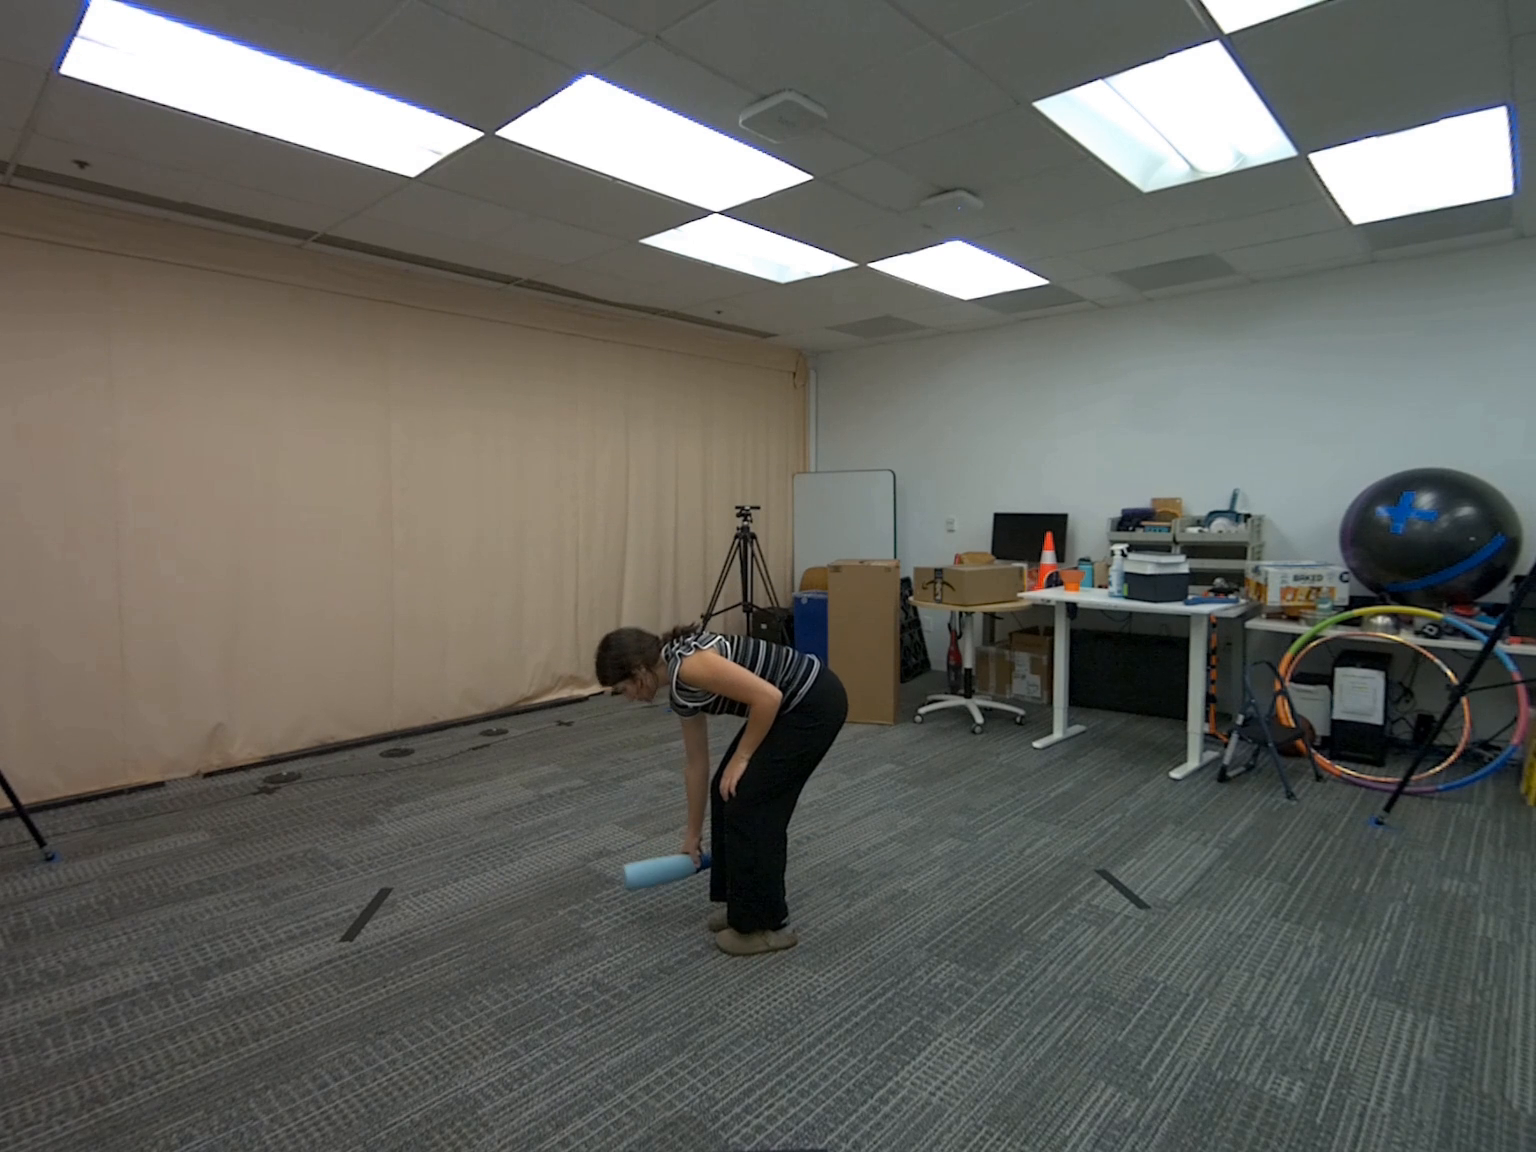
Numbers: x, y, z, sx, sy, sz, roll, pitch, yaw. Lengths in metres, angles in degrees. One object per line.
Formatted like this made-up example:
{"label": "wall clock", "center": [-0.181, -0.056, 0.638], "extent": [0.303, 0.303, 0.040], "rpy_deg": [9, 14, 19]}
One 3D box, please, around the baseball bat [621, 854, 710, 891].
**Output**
{"label": "baseball bat", "center": [-0.237, 0.998, 2.907], "extent": [0.532, 0.089, 0.091], "rpy_deg": [-2, 4, -20]}
